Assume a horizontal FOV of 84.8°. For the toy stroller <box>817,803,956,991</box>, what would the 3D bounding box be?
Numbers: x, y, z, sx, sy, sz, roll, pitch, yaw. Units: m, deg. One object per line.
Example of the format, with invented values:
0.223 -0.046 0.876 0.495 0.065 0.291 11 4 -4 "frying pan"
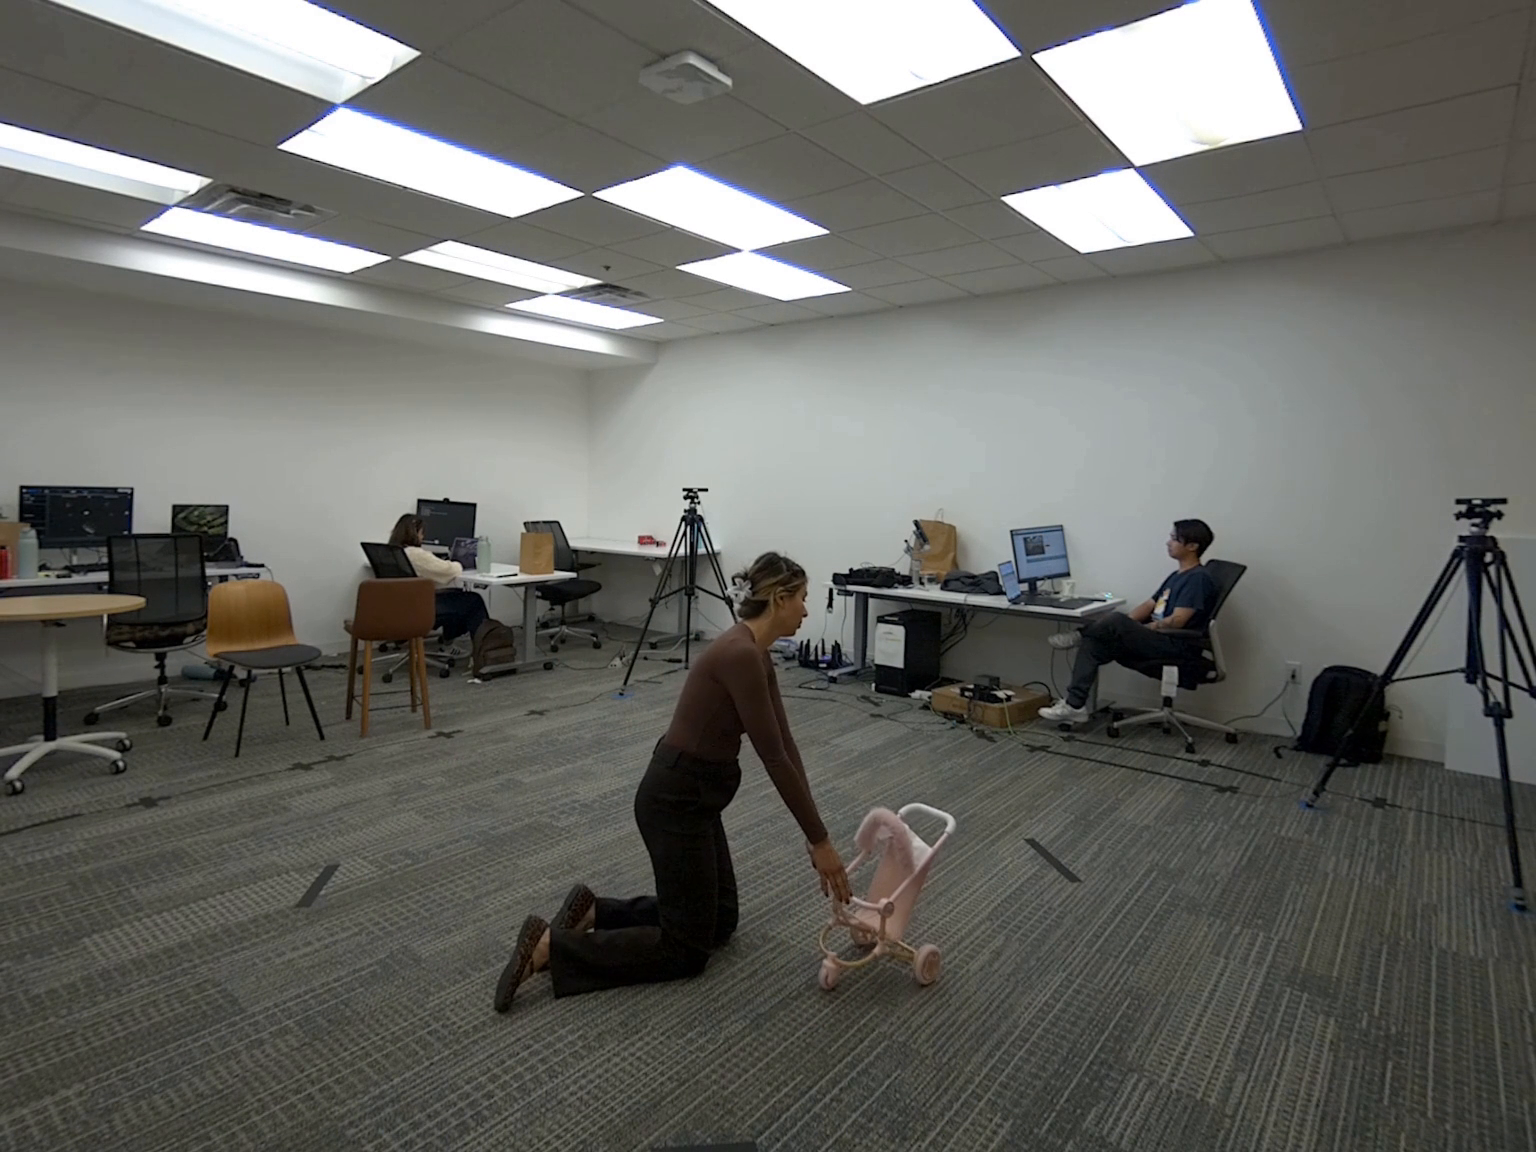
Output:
0.320 0.924 2.474 0.329 0.537 0.290 19 -7 -32 "toy stroller"
